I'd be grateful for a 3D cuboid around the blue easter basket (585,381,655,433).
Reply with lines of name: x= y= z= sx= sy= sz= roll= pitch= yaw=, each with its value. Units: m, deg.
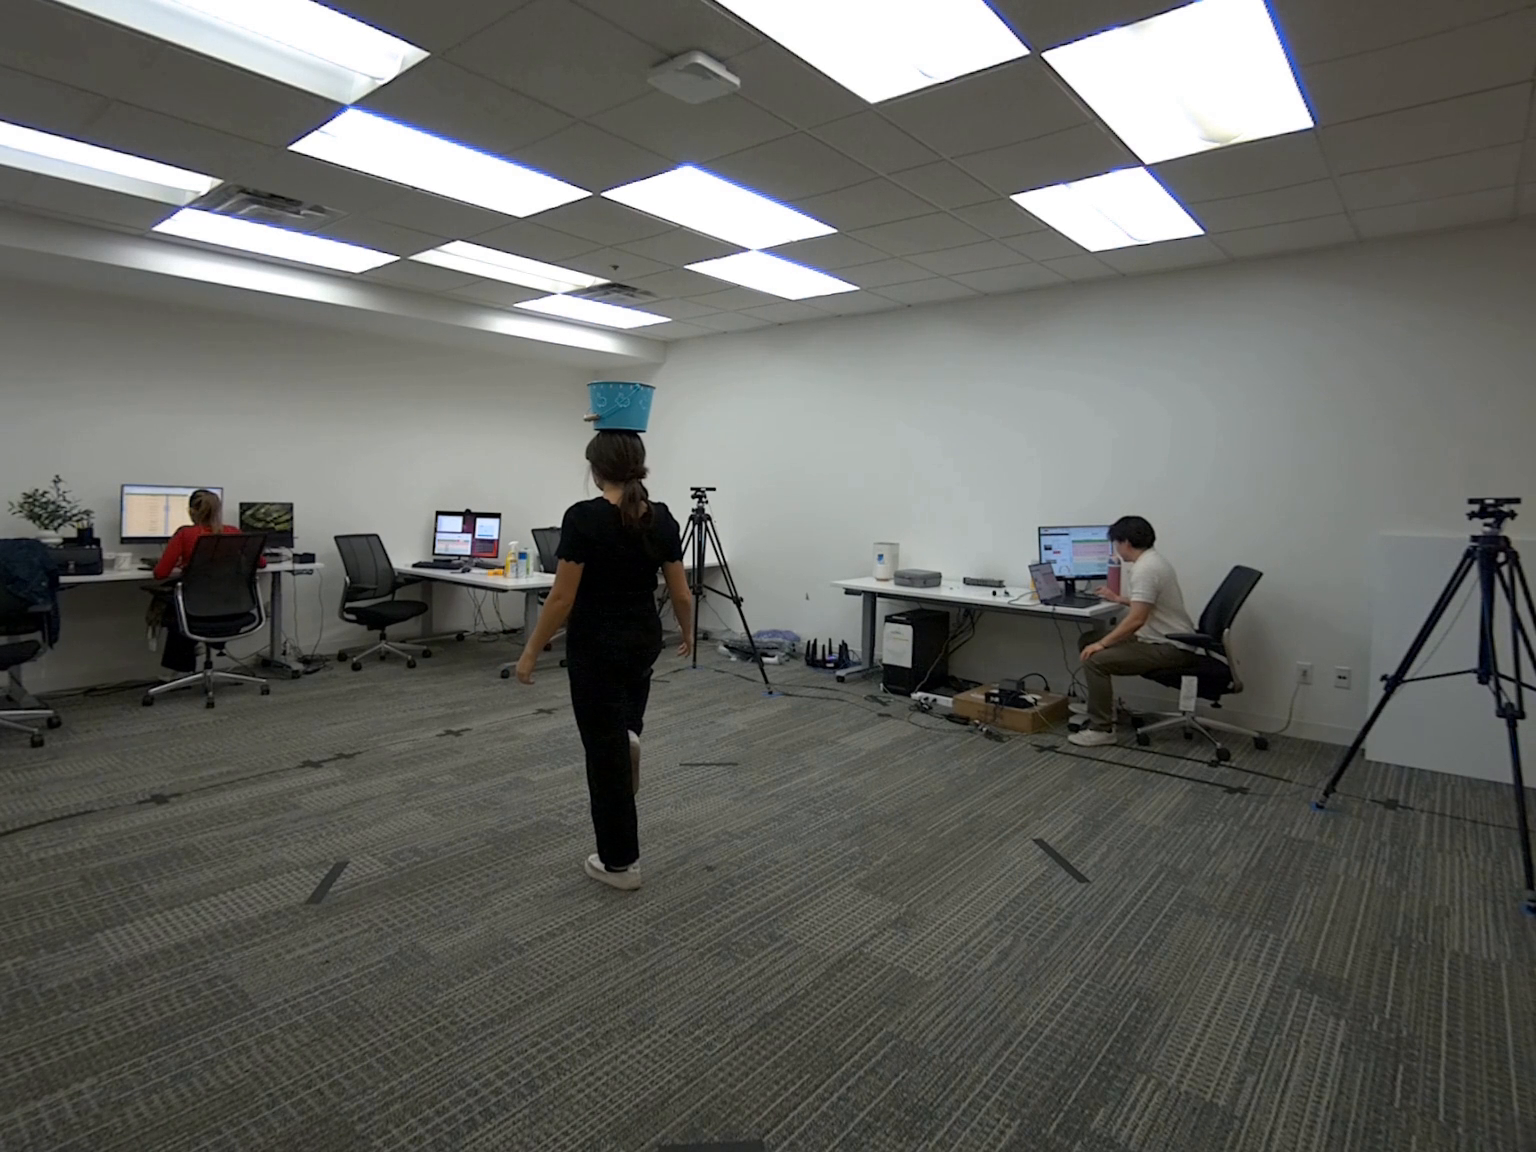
blue easter basket: x=-0.516 y=-0.574 z=2.881 sx=0.243 sy=0.155 sz=0.244 roll=1 pitch=4 yaw=-2
